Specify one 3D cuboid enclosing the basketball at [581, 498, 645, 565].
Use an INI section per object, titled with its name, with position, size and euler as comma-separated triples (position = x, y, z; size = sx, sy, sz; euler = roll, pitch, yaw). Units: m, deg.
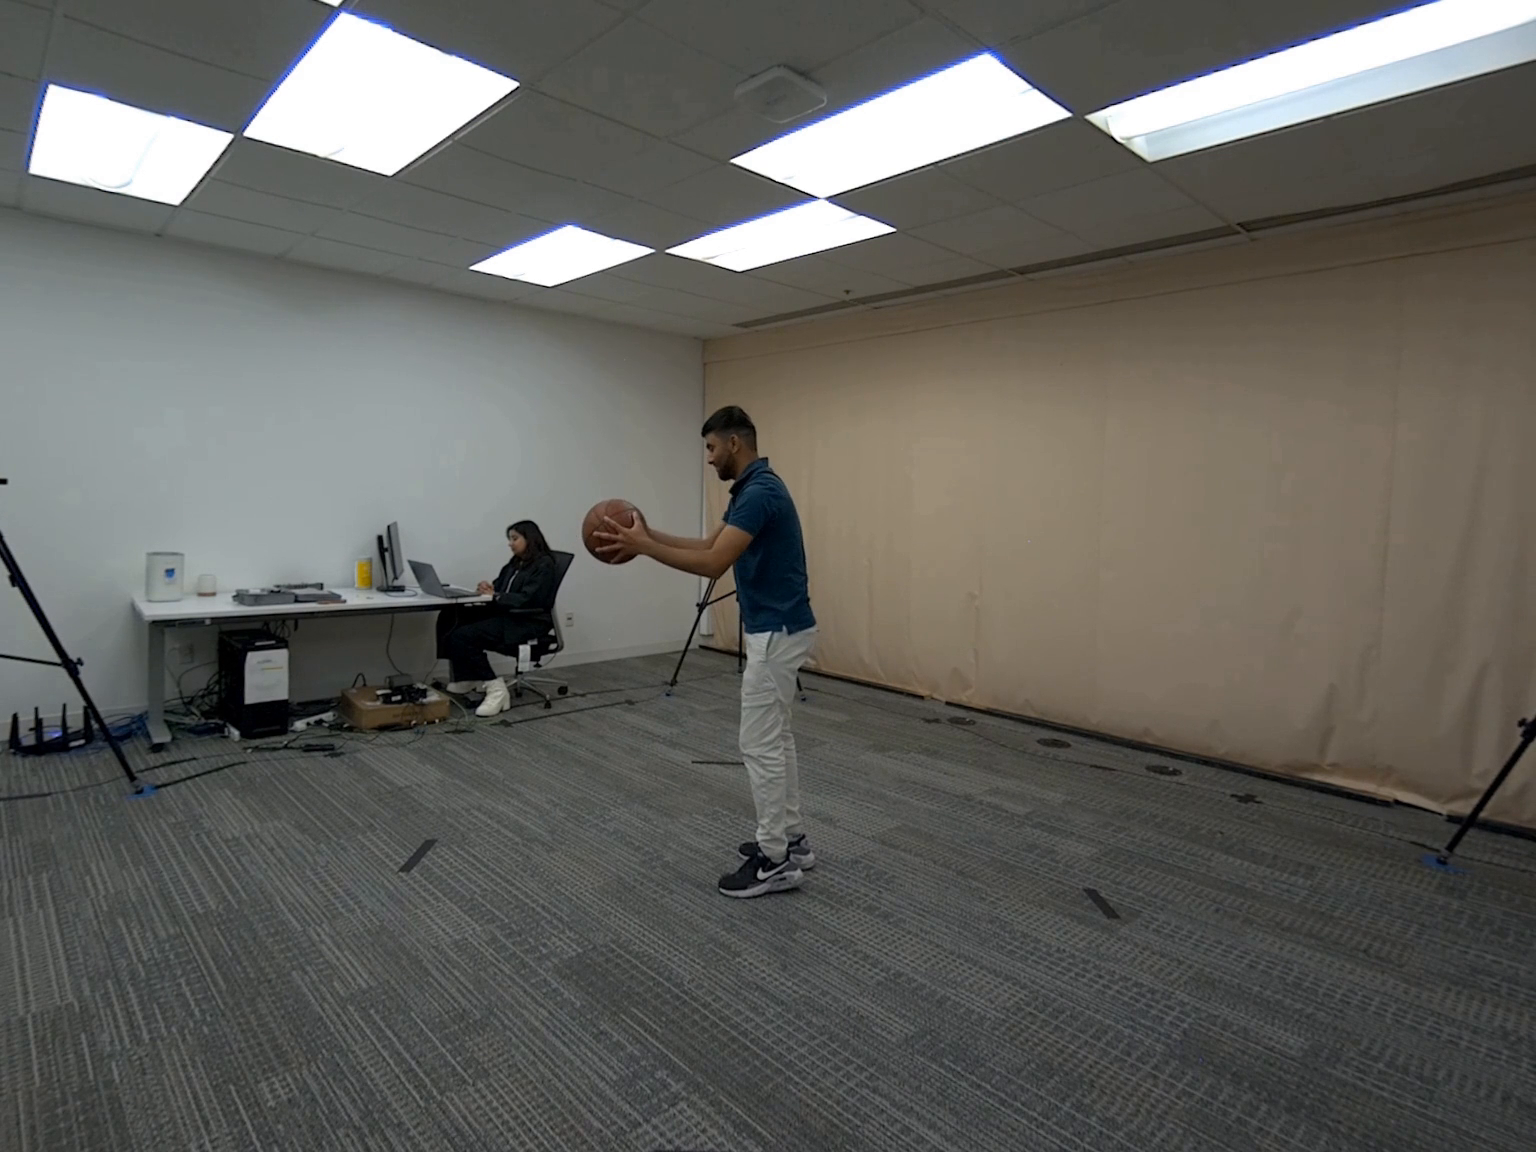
[basketball]
position = -0.559, -0.163, 3.058
size = 0.236, 0.235, 0.237
euler = 1, 4, -1
